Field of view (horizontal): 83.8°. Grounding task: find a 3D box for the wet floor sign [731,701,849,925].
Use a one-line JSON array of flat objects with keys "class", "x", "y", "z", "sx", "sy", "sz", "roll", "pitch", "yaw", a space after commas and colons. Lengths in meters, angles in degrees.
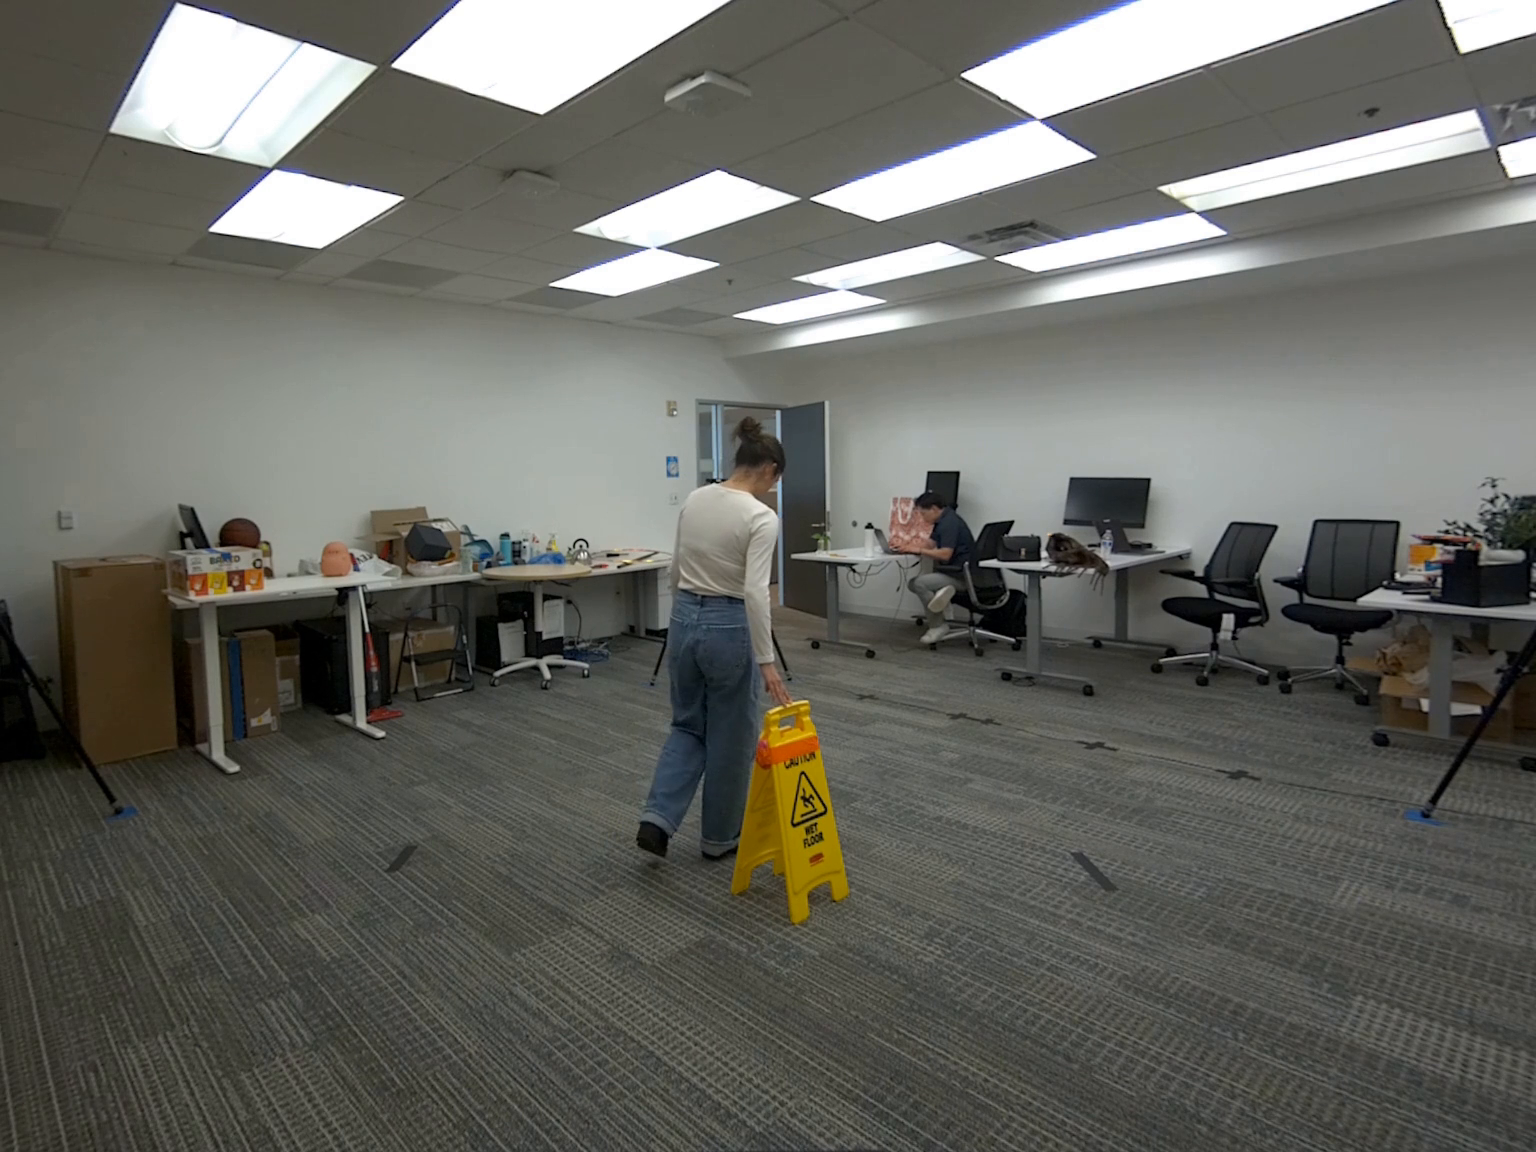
[{"class": "wet floor sign", "x": 0.074, "y": 0.746, "z": 2.848, "sx": 0.275, "sy": 0.643, "sz": 0.299, "roll": -5, "pitch": 6, "yaw": -45}]
